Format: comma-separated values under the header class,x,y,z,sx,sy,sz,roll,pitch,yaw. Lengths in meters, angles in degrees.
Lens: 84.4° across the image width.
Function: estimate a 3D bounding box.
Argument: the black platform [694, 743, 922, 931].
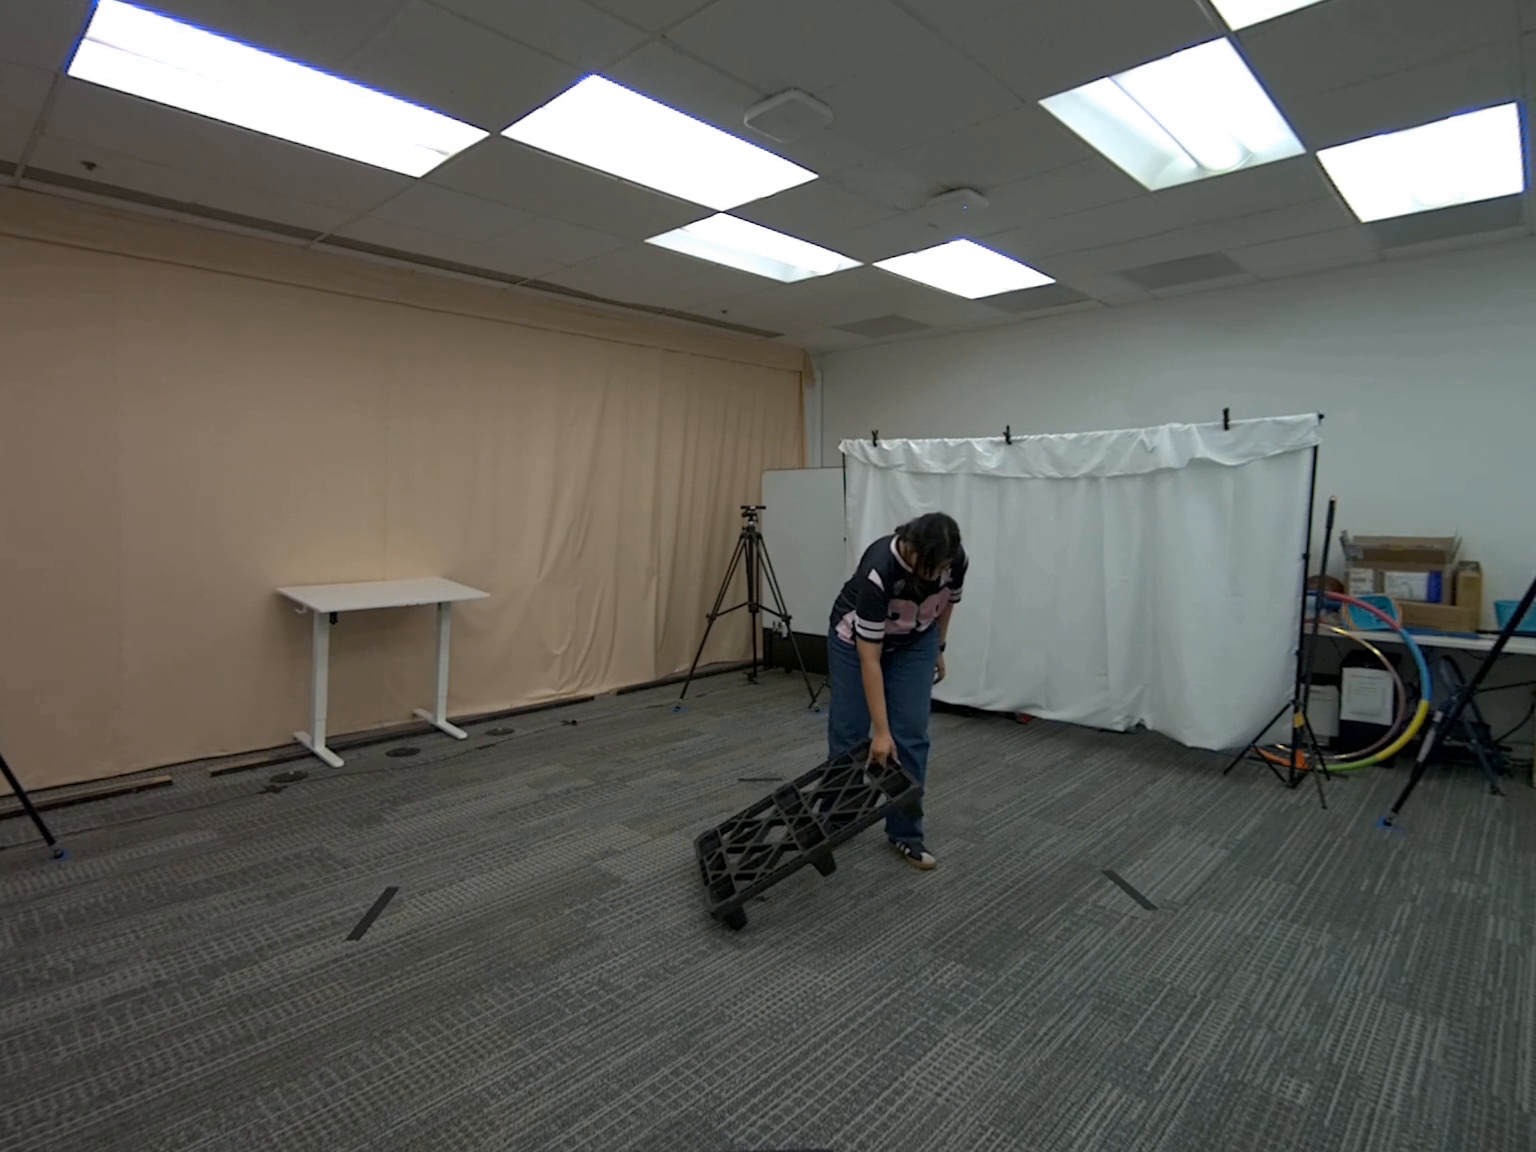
class,x,y,z,sx,sy,sz,roll,pitch,yaw
black platform,0.140,0.907,3.010,0.803,0.142,0.611,-30,8,-5
